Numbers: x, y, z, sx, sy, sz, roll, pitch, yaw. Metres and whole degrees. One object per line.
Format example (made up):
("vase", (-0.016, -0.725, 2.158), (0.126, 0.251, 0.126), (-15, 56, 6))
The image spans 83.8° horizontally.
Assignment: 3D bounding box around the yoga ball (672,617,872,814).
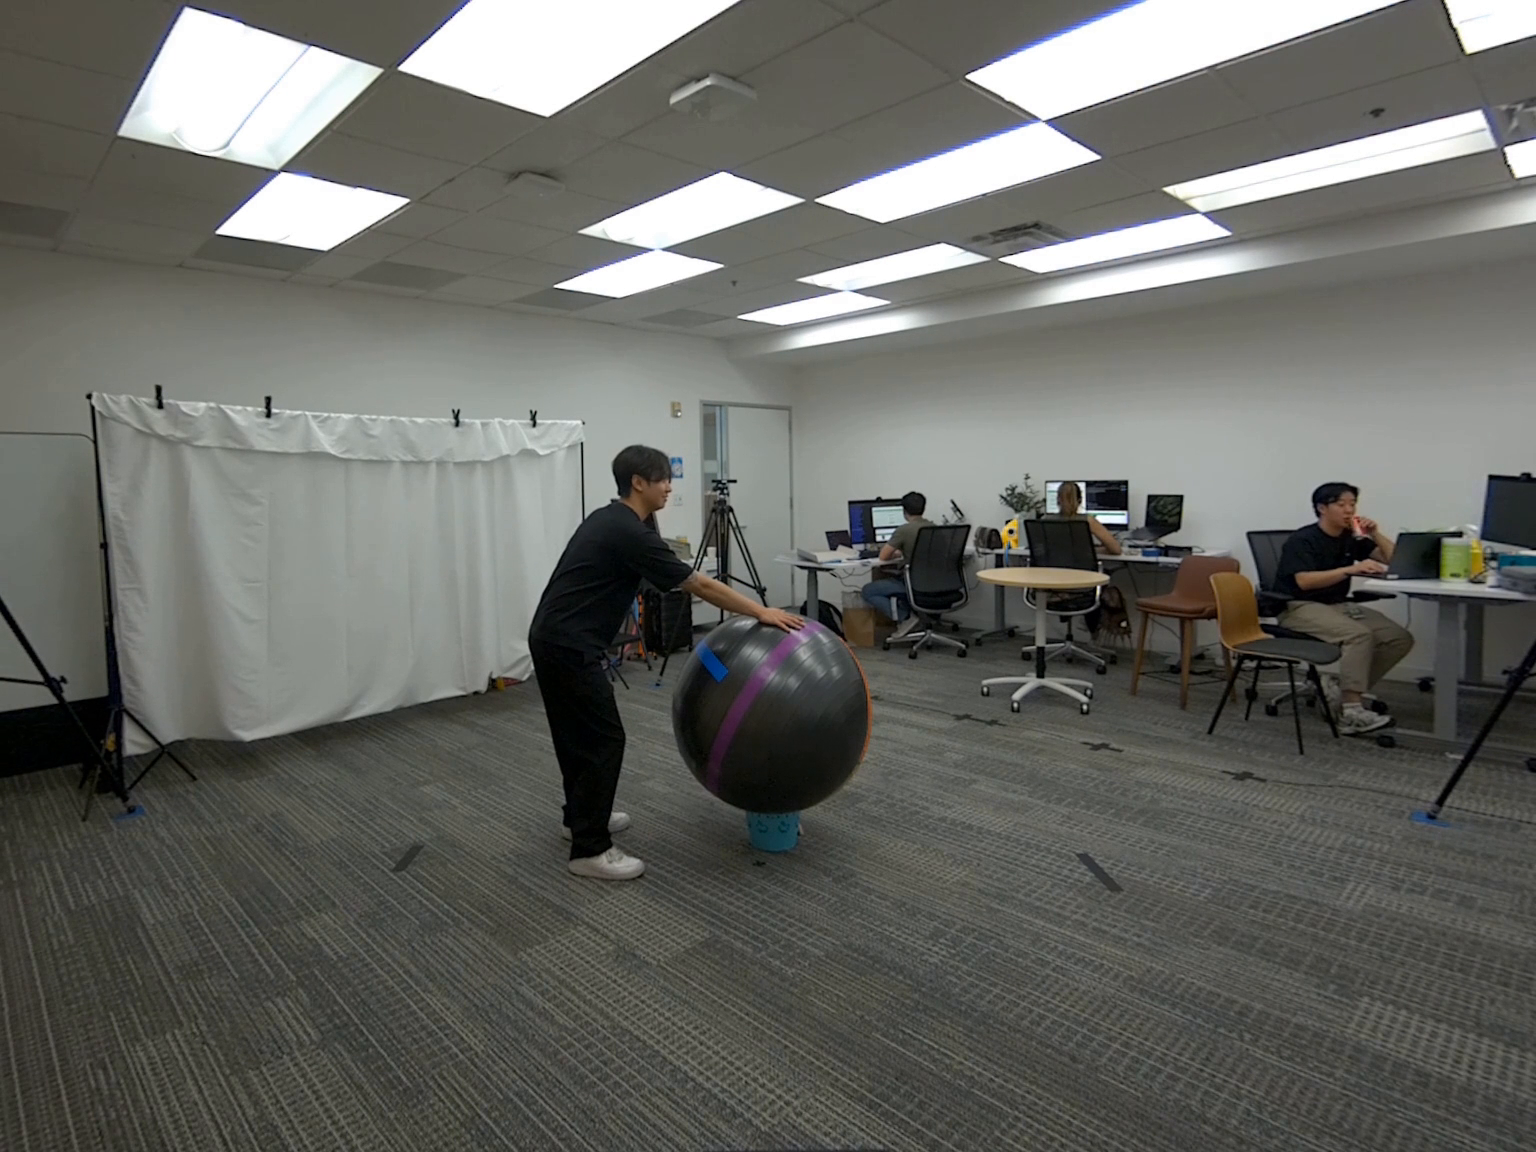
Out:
("yoga ball", (0.025, 0.521, 3.275), (0.757, 0.755, 0.762), (-1, 5, -2))
